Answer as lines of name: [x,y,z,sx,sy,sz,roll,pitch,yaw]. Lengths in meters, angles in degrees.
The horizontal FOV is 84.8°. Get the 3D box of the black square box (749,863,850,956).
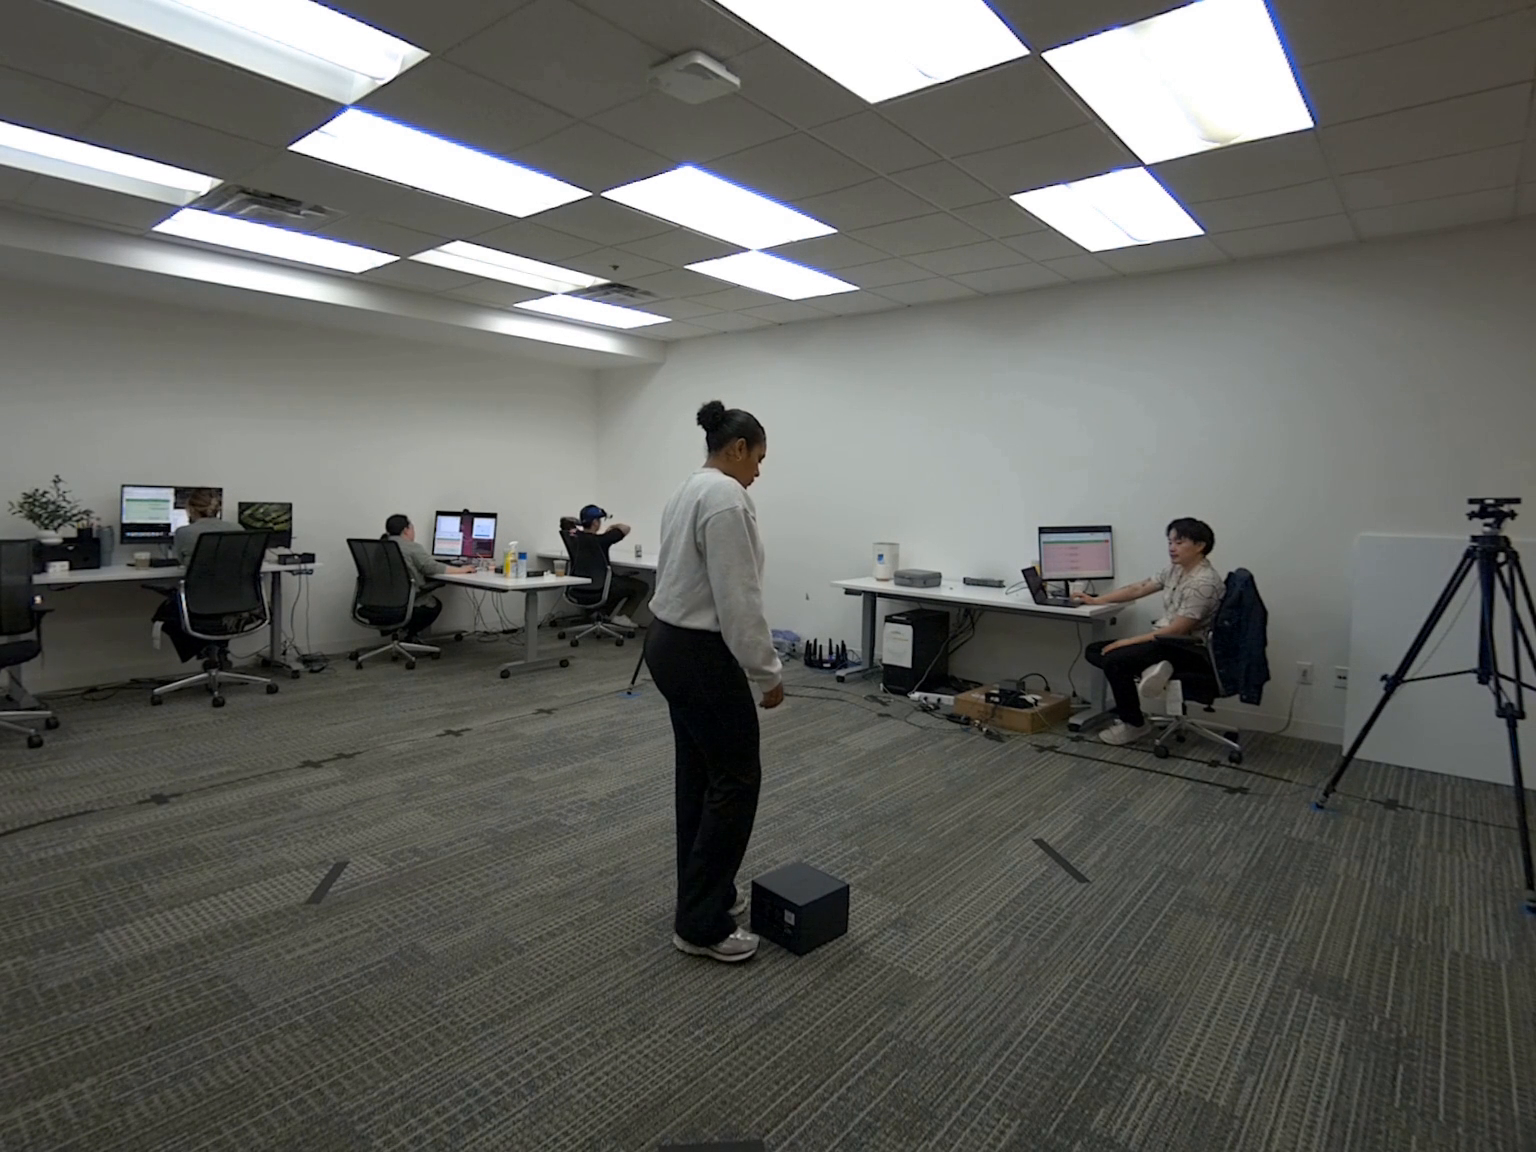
black square box: [0.098,1.034,2.672,0.221,0.155,0.224,-3,7,-44]
